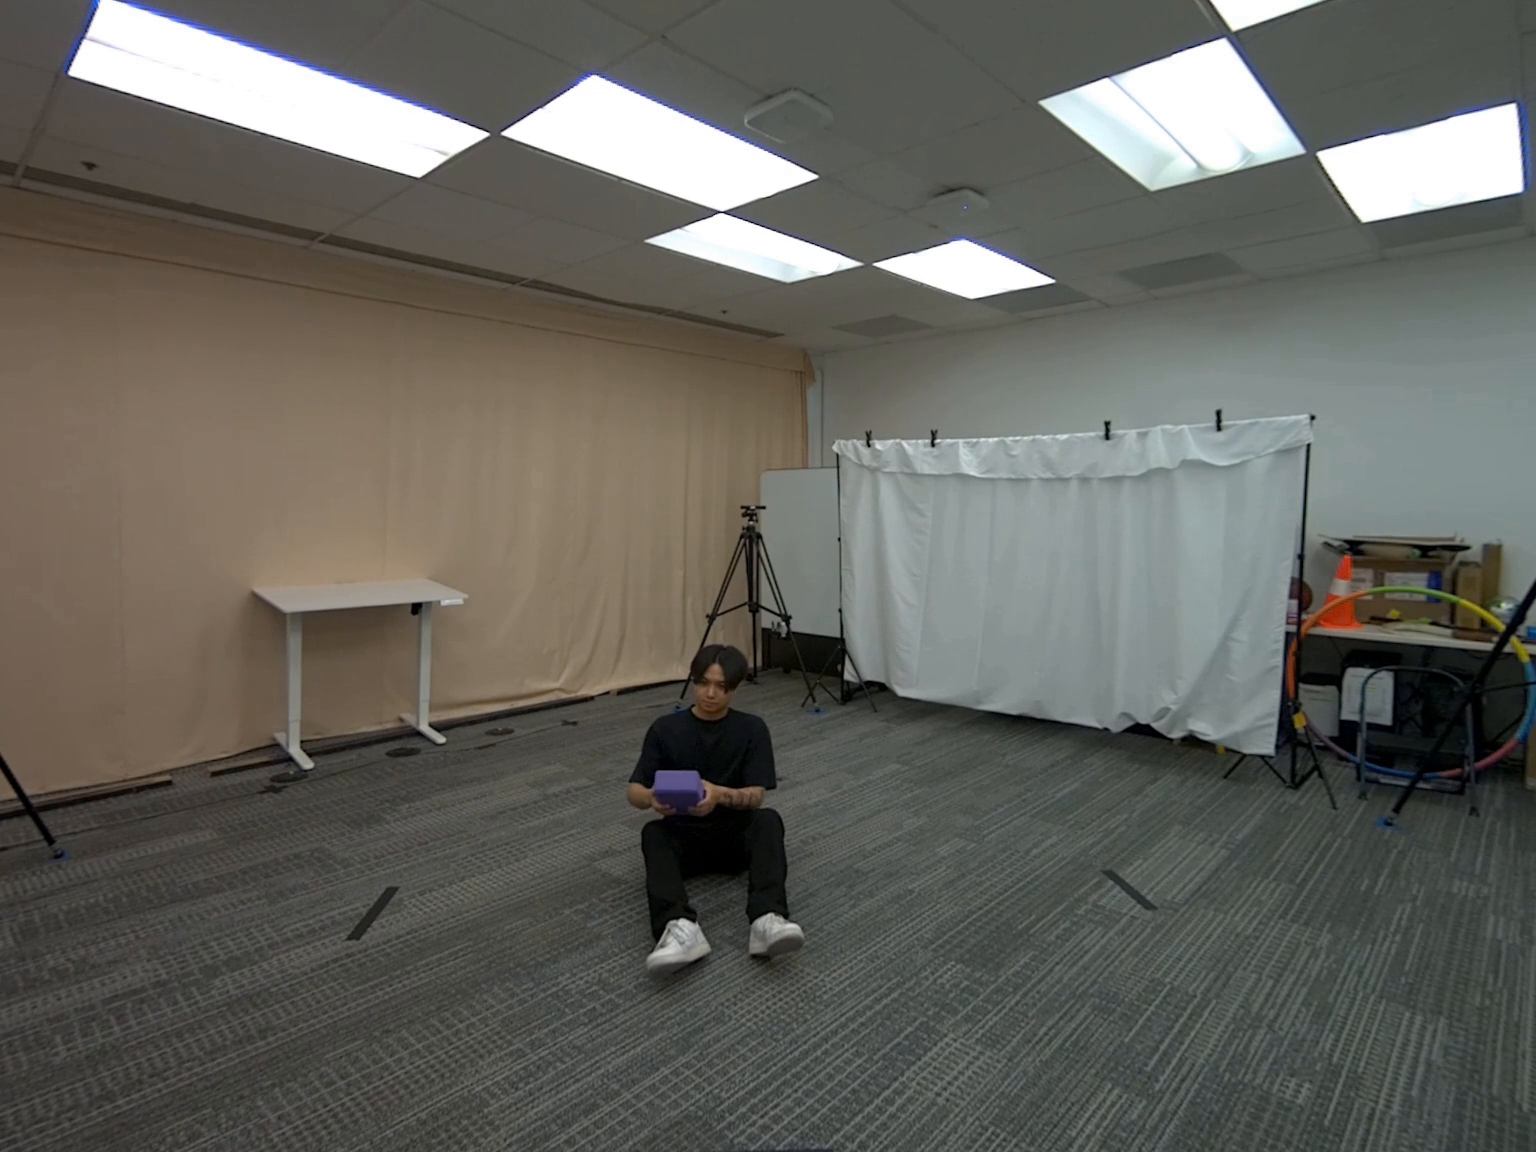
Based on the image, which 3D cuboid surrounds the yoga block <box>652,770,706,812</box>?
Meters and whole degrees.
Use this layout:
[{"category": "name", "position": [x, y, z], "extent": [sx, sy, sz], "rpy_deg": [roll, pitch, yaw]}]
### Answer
[{"category": "yoga block", "position": [-0.320, 0.740, 2.893], "extent": [0.150, 0.077, 0.224], "rpy_deg": [1, -35, 4]}]
